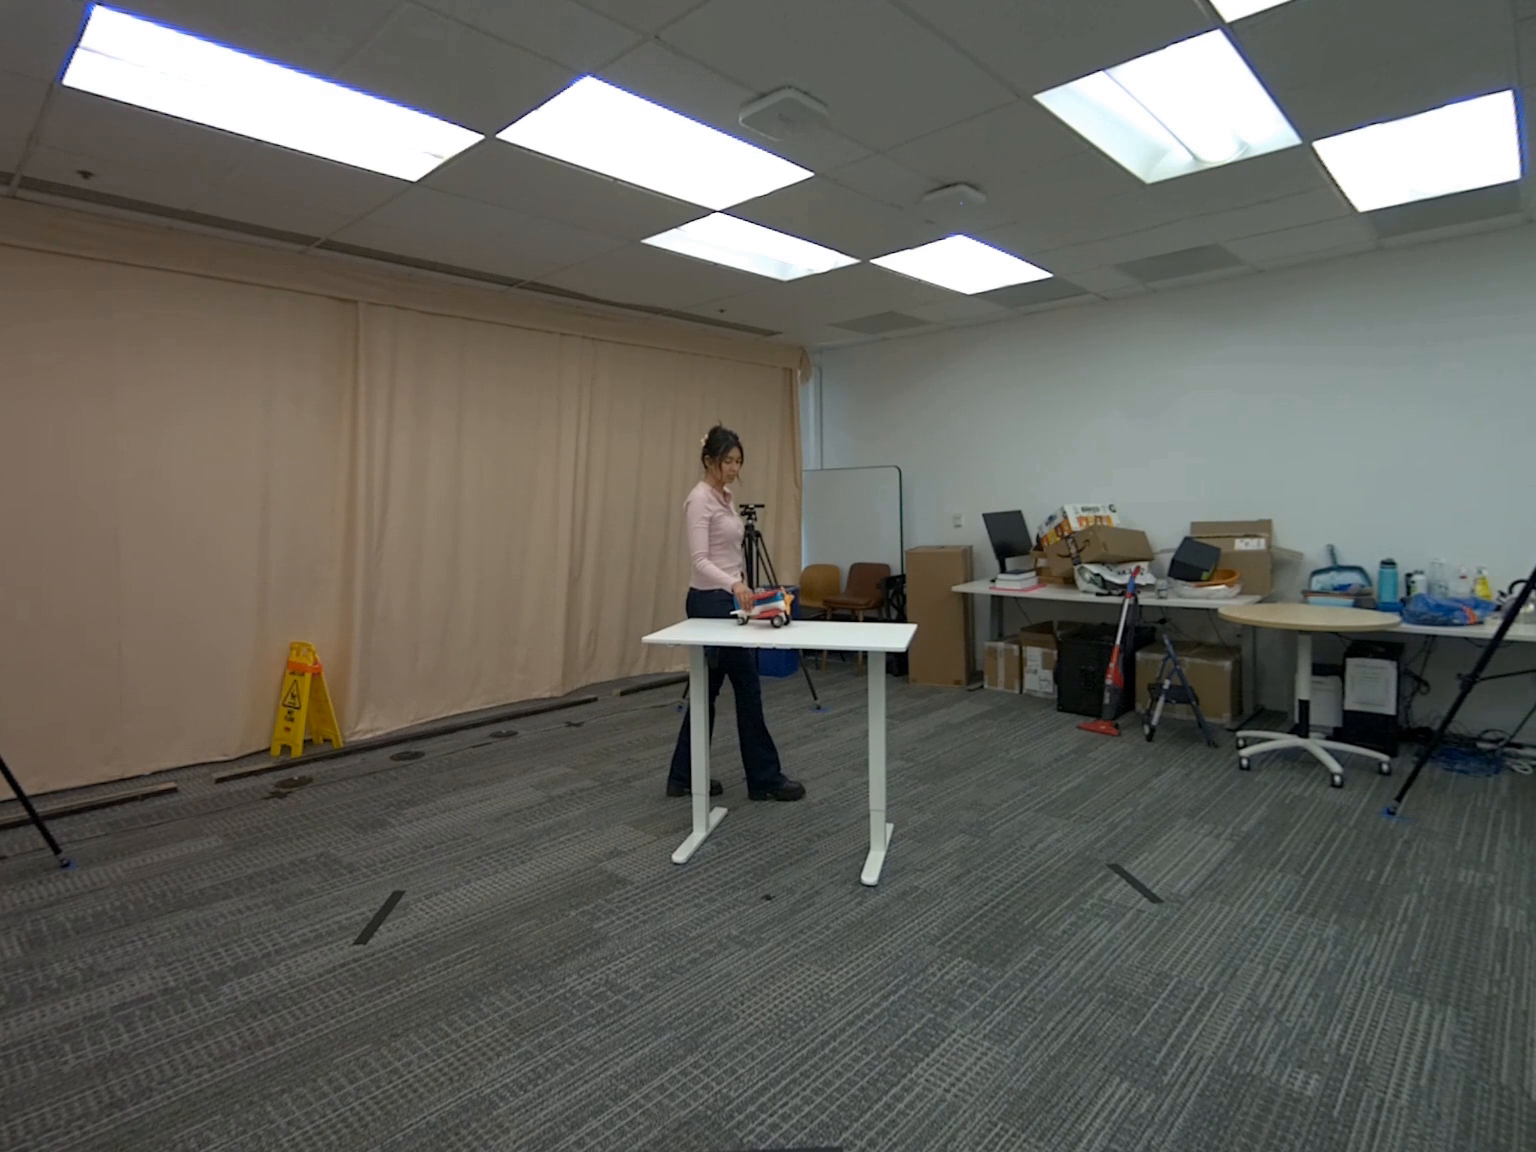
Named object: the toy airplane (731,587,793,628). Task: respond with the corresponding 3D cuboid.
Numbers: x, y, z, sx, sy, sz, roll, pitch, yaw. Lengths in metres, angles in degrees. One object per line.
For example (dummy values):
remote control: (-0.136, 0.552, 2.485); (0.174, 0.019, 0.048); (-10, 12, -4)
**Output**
toy airplane: (-0.023, 0.137, 3.538); (0.258, 0.156, 0.252); (-1, 3, -4)
